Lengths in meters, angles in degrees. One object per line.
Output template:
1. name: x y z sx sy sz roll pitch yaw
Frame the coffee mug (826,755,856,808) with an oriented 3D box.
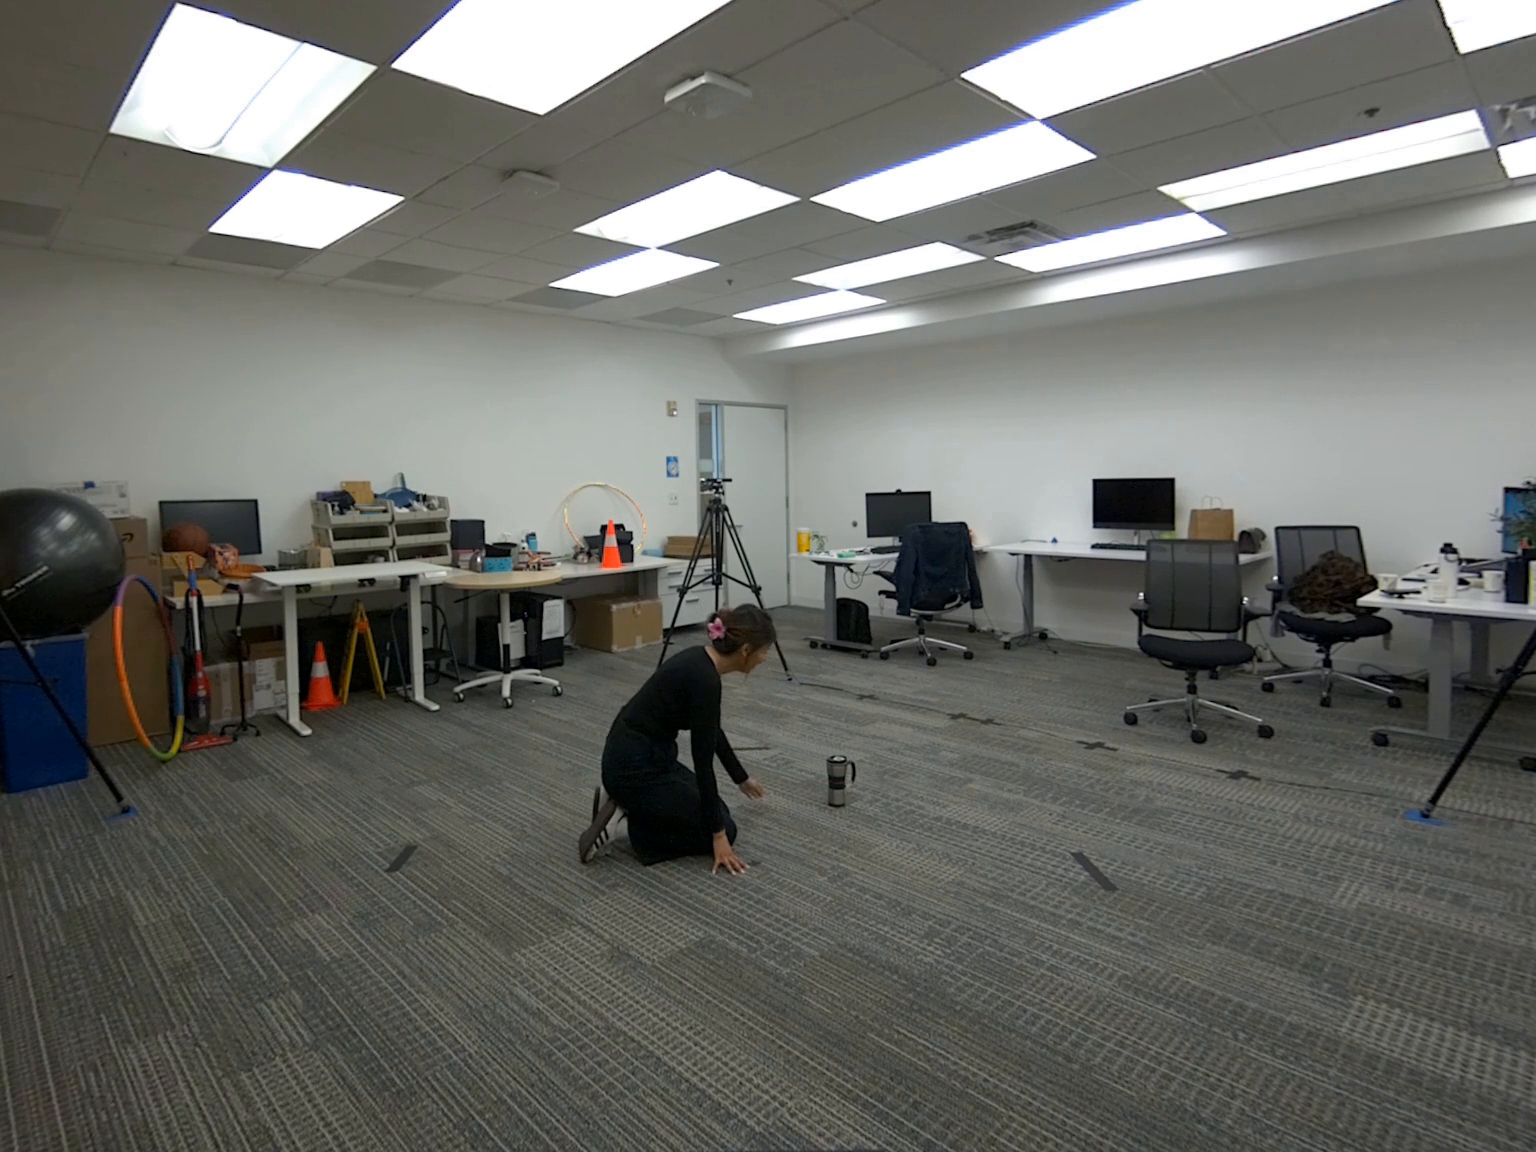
1. coffee mug: 0.315 0.881 3.644 0.125 0.203 0.086 -2 0 28
